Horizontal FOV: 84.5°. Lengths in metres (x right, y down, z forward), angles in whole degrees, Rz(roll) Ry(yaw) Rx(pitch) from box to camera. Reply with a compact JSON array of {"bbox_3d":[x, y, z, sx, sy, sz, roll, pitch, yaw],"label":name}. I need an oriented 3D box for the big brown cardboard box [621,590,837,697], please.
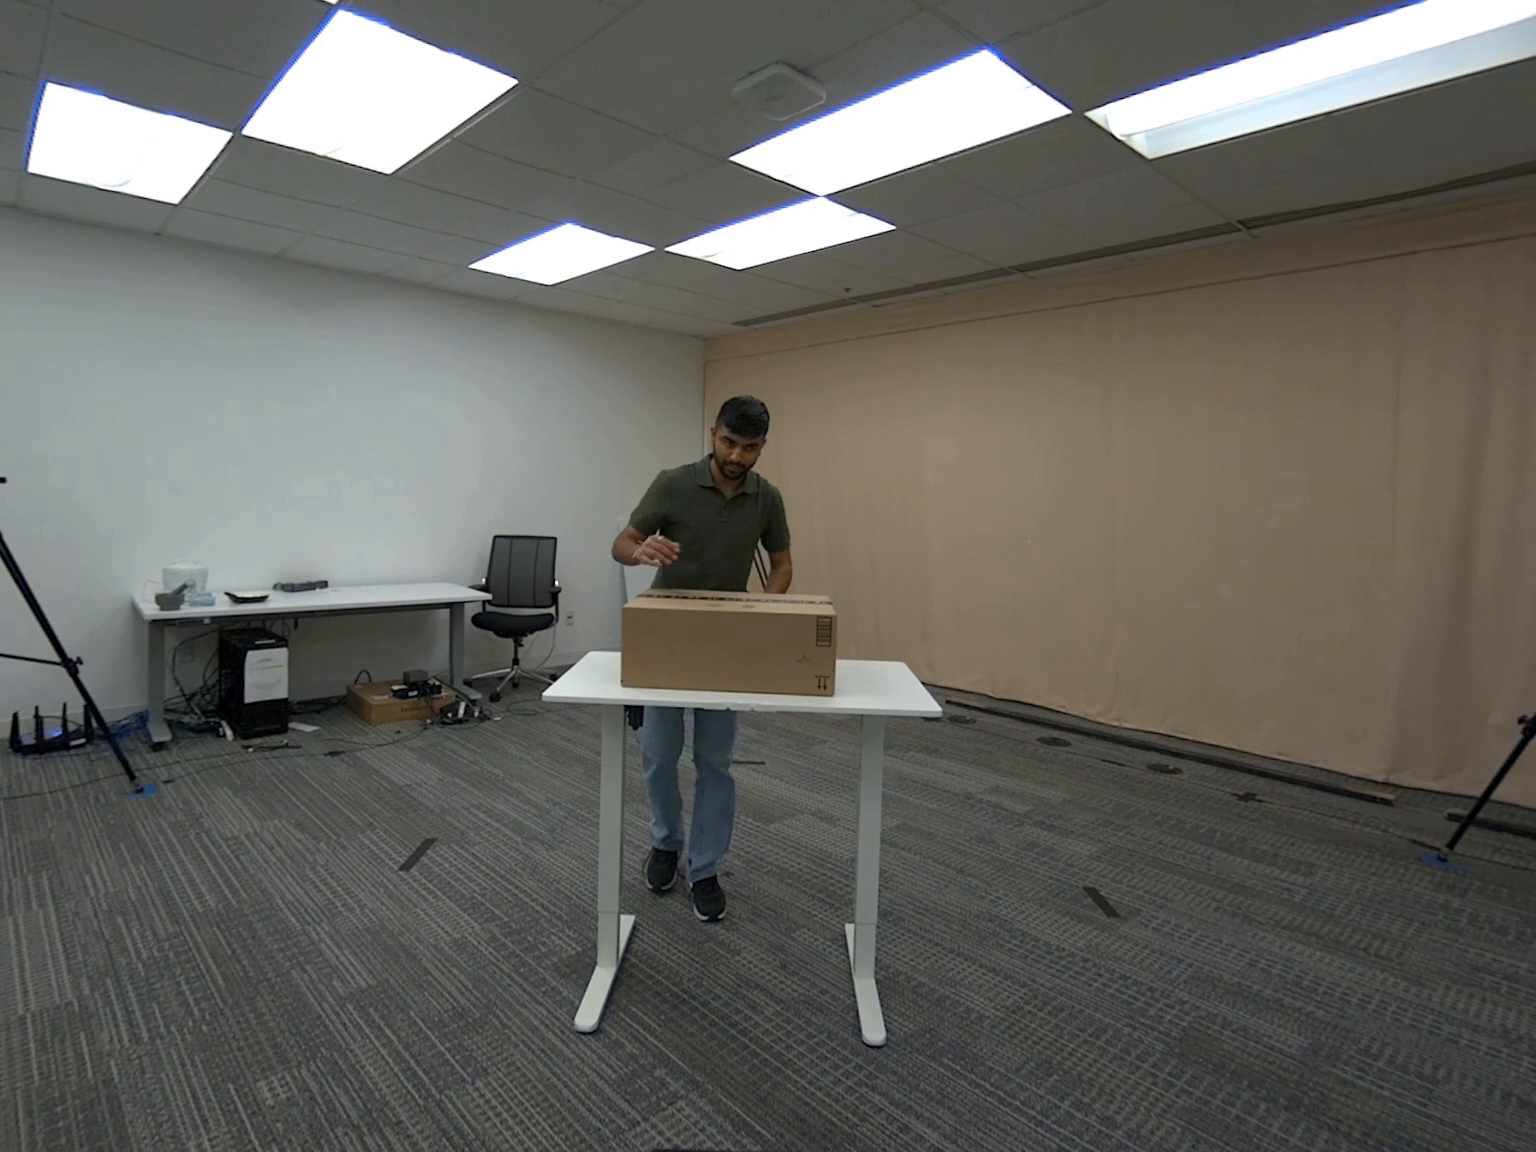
[{"bbox_3d":[-0.118,0.178,2.404,0.591,0.232,0.417,1,5,5],"label":"big brown cardboard box"}]
